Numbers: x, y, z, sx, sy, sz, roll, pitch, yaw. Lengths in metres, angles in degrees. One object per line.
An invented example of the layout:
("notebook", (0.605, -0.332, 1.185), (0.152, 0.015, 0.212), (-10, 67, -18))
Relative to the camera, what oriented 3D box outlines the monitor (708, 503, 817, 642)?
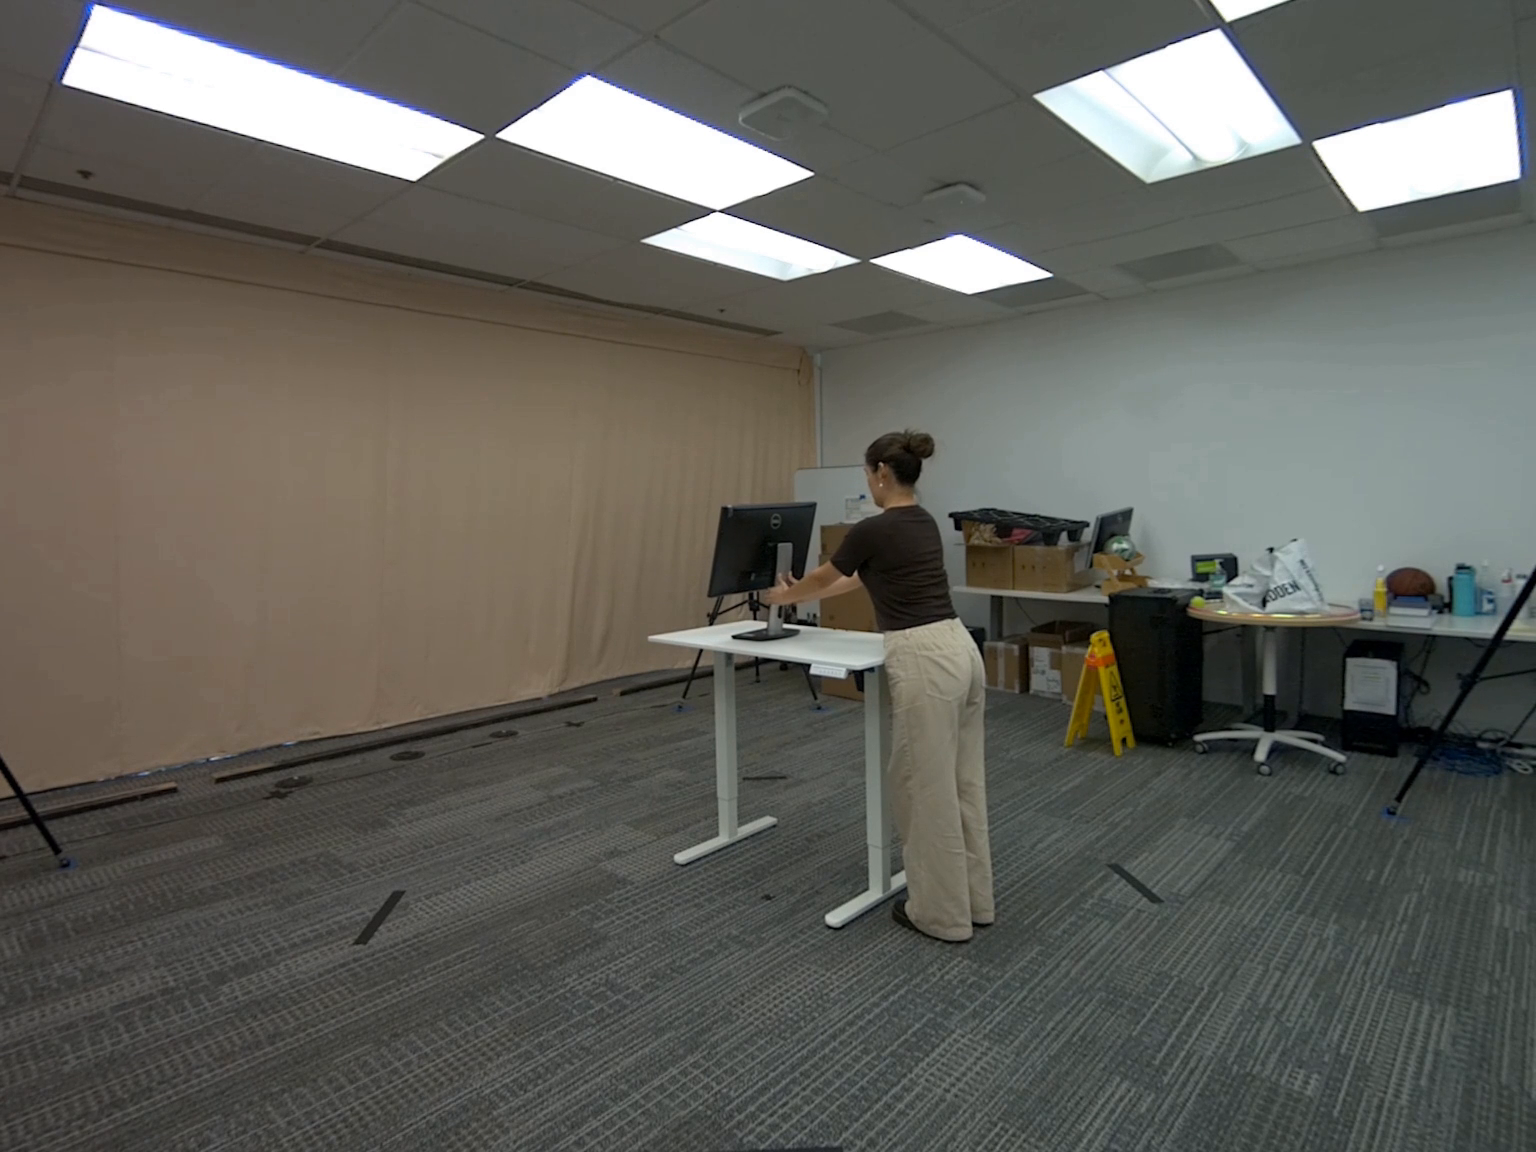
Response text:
("monitor", (0.011, -0.018, 3.258), (0.193, 0.521, 0.523), (5, 7, 41))
